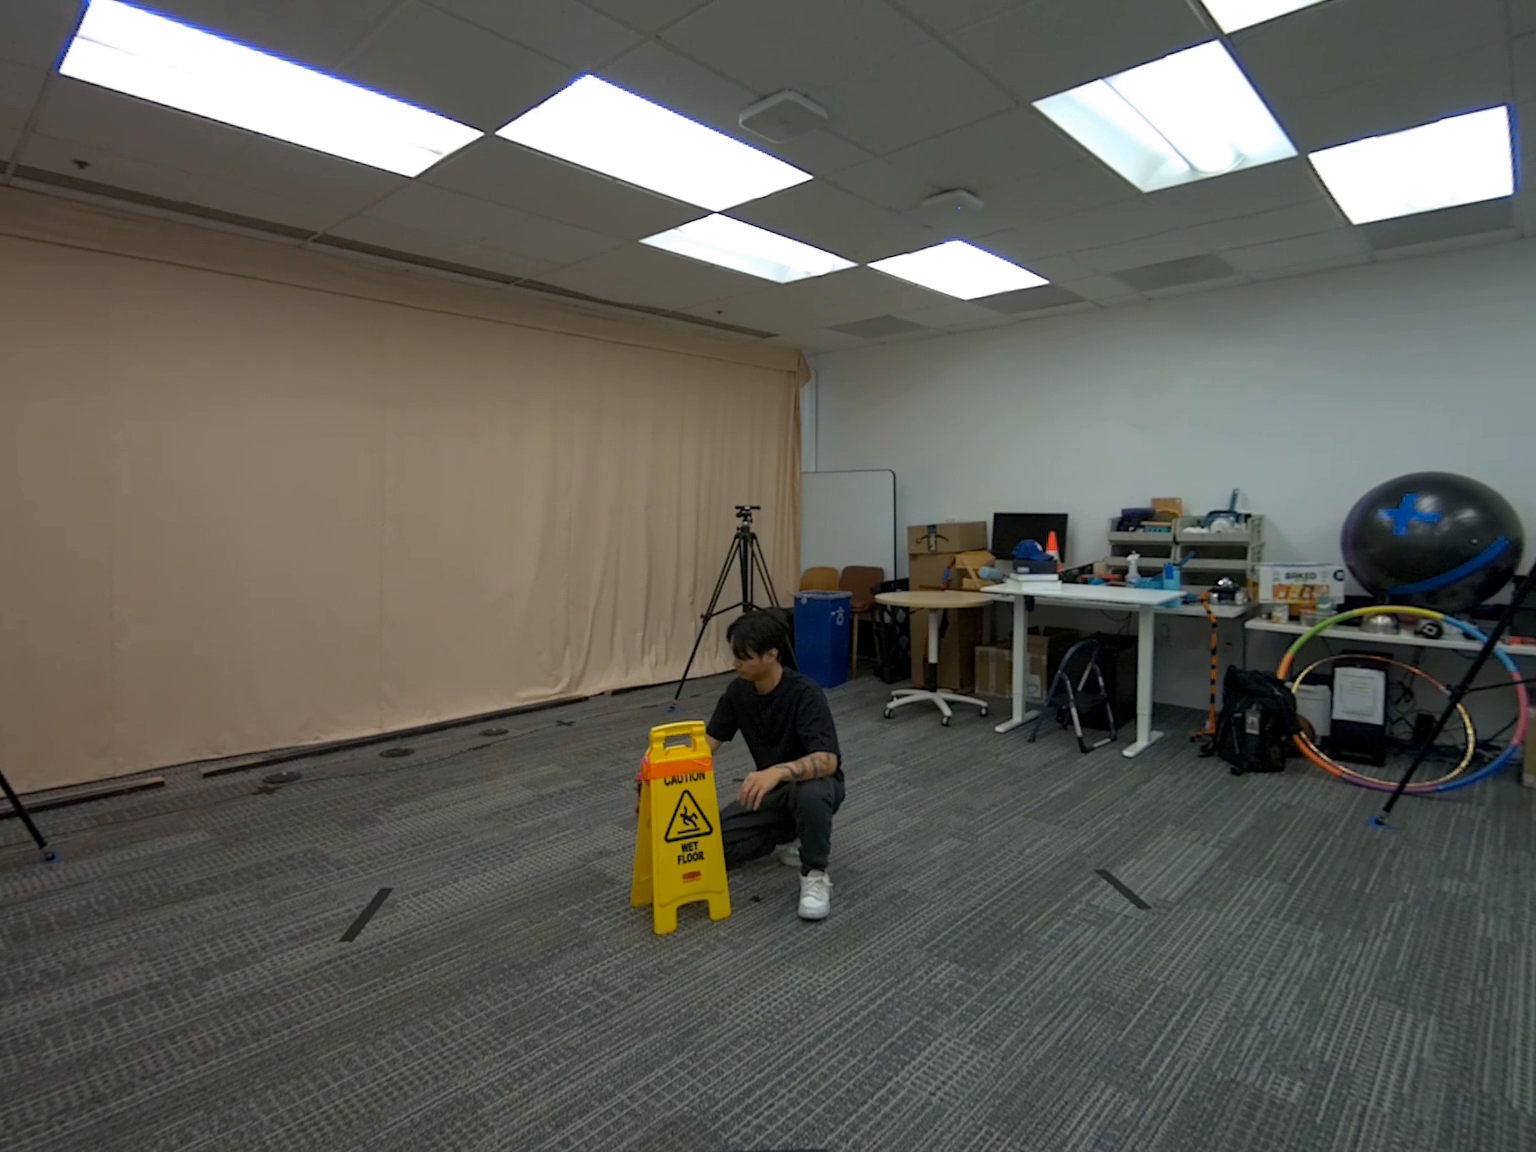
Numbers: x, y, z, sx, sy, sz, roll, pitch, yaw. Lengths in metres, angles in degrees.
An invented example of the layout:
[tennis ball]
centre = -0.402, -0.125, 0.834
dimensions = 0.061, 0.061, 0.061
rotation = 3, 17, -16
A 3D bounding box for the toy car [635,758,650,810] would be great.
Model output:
[toy car]
centre = -0.420, 0.815, 3.038
dimensions = 0.128, 0.251, 0.086
rotation = -10, 41, -20
